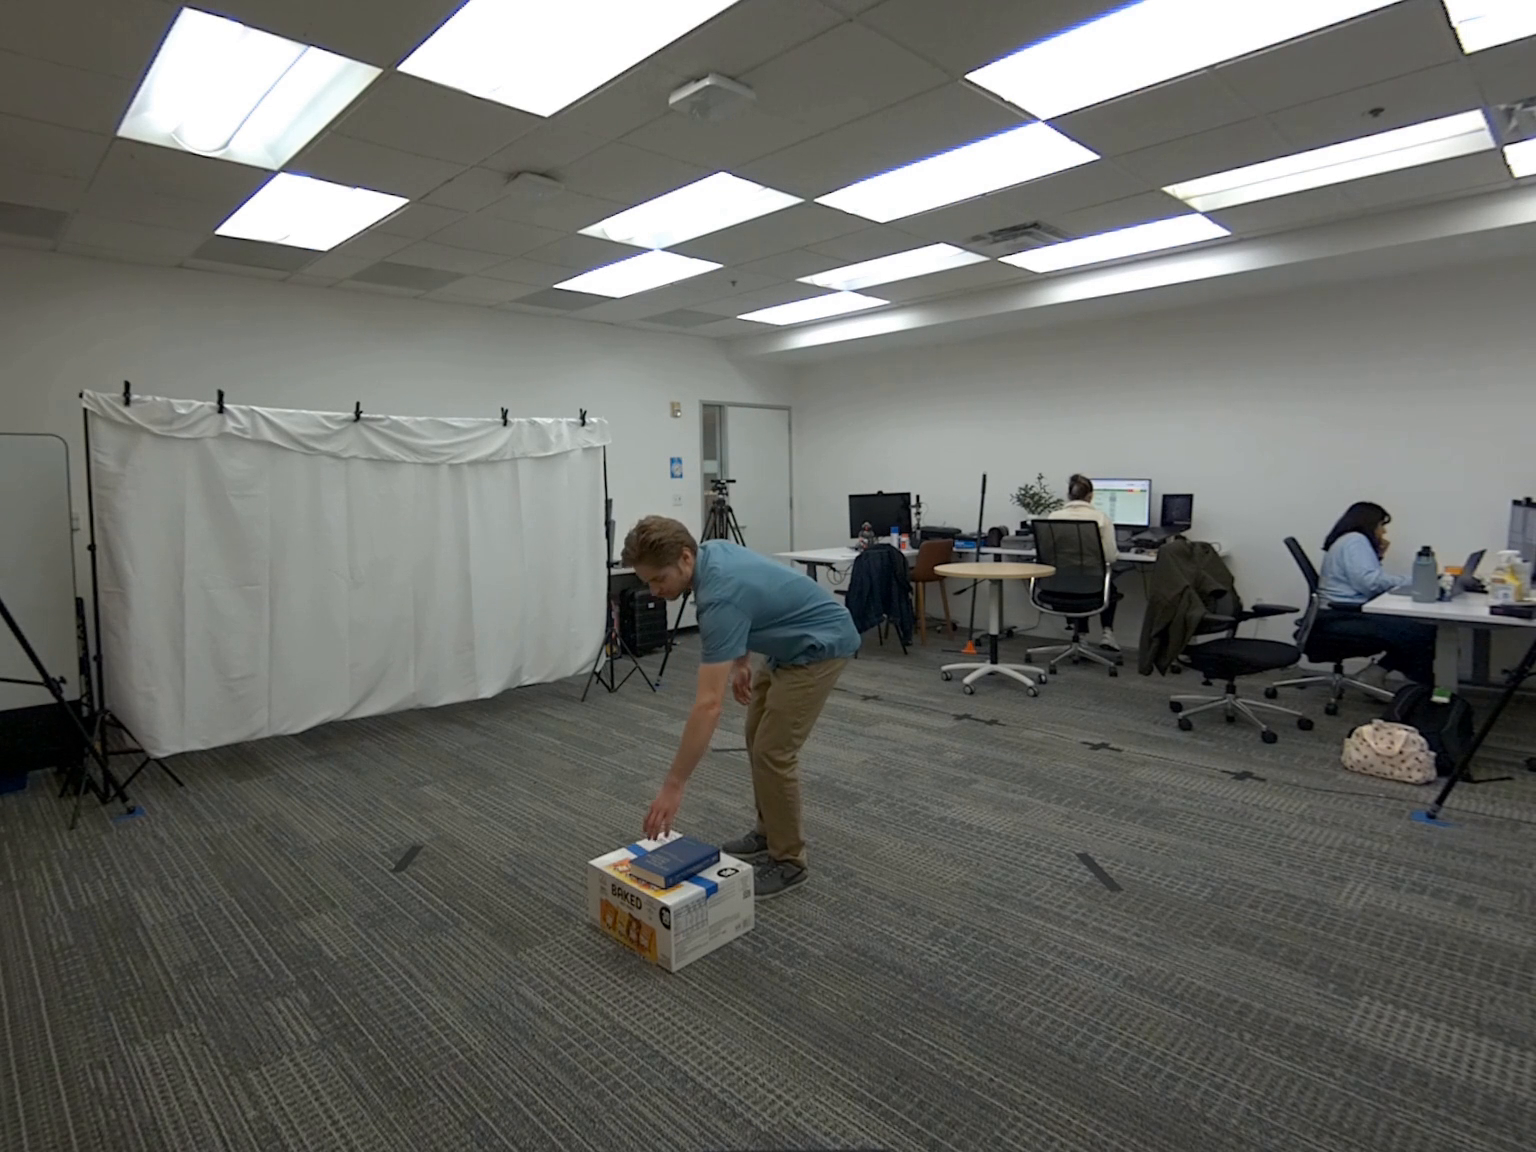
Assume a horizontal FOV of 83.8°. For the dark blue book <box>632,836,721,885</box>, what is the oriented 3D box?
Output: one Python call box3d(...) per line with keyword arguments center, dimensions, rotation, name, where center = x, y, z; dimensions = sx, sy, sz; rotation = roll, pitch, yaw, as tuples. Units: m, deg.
box3d(center=(-0.283, 0.890, 2.647), dimensions=(0.168, 0.045, 0.239), rotation=(3, 9, 40), name="dark blue book")
